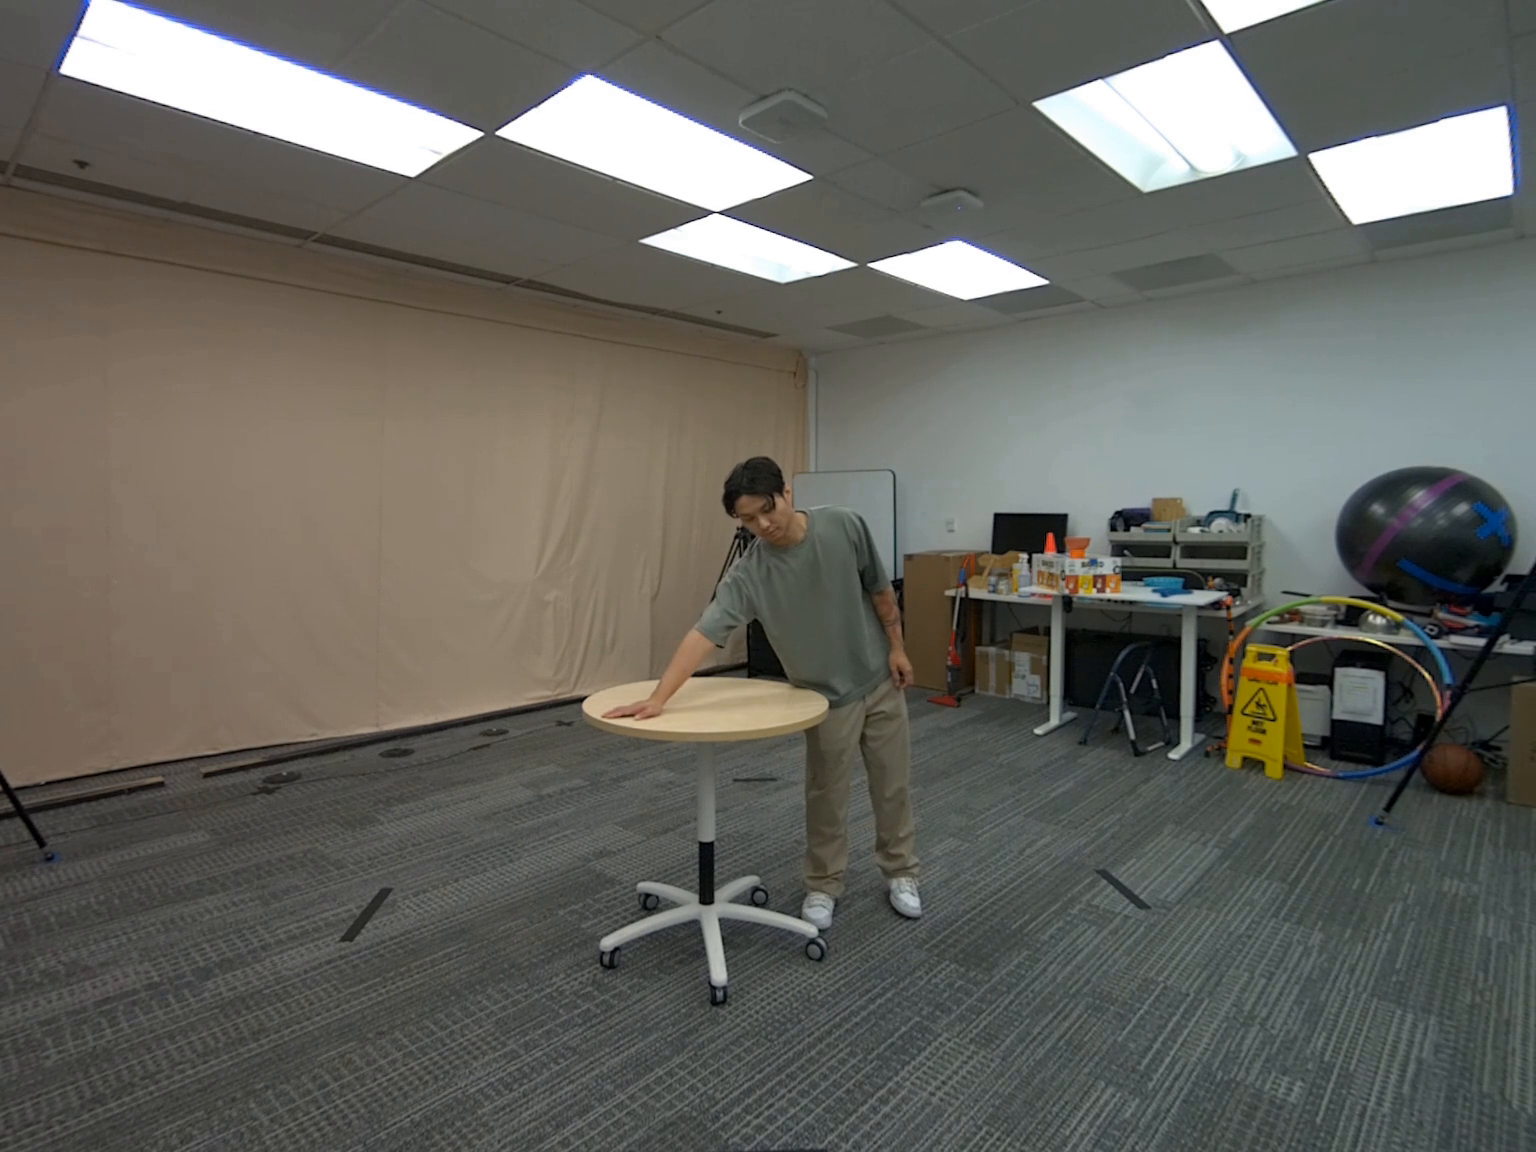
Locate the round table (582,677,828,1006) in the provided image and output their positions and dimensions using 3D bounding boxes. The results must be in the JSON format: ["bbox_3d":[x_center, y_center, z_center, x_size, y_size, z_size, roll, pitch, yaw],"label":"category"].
[{"bbox_3d":[-0.194,0.787,2.645,0.763,0.792,0.766,0,4,-2],"label":"round table"}]
